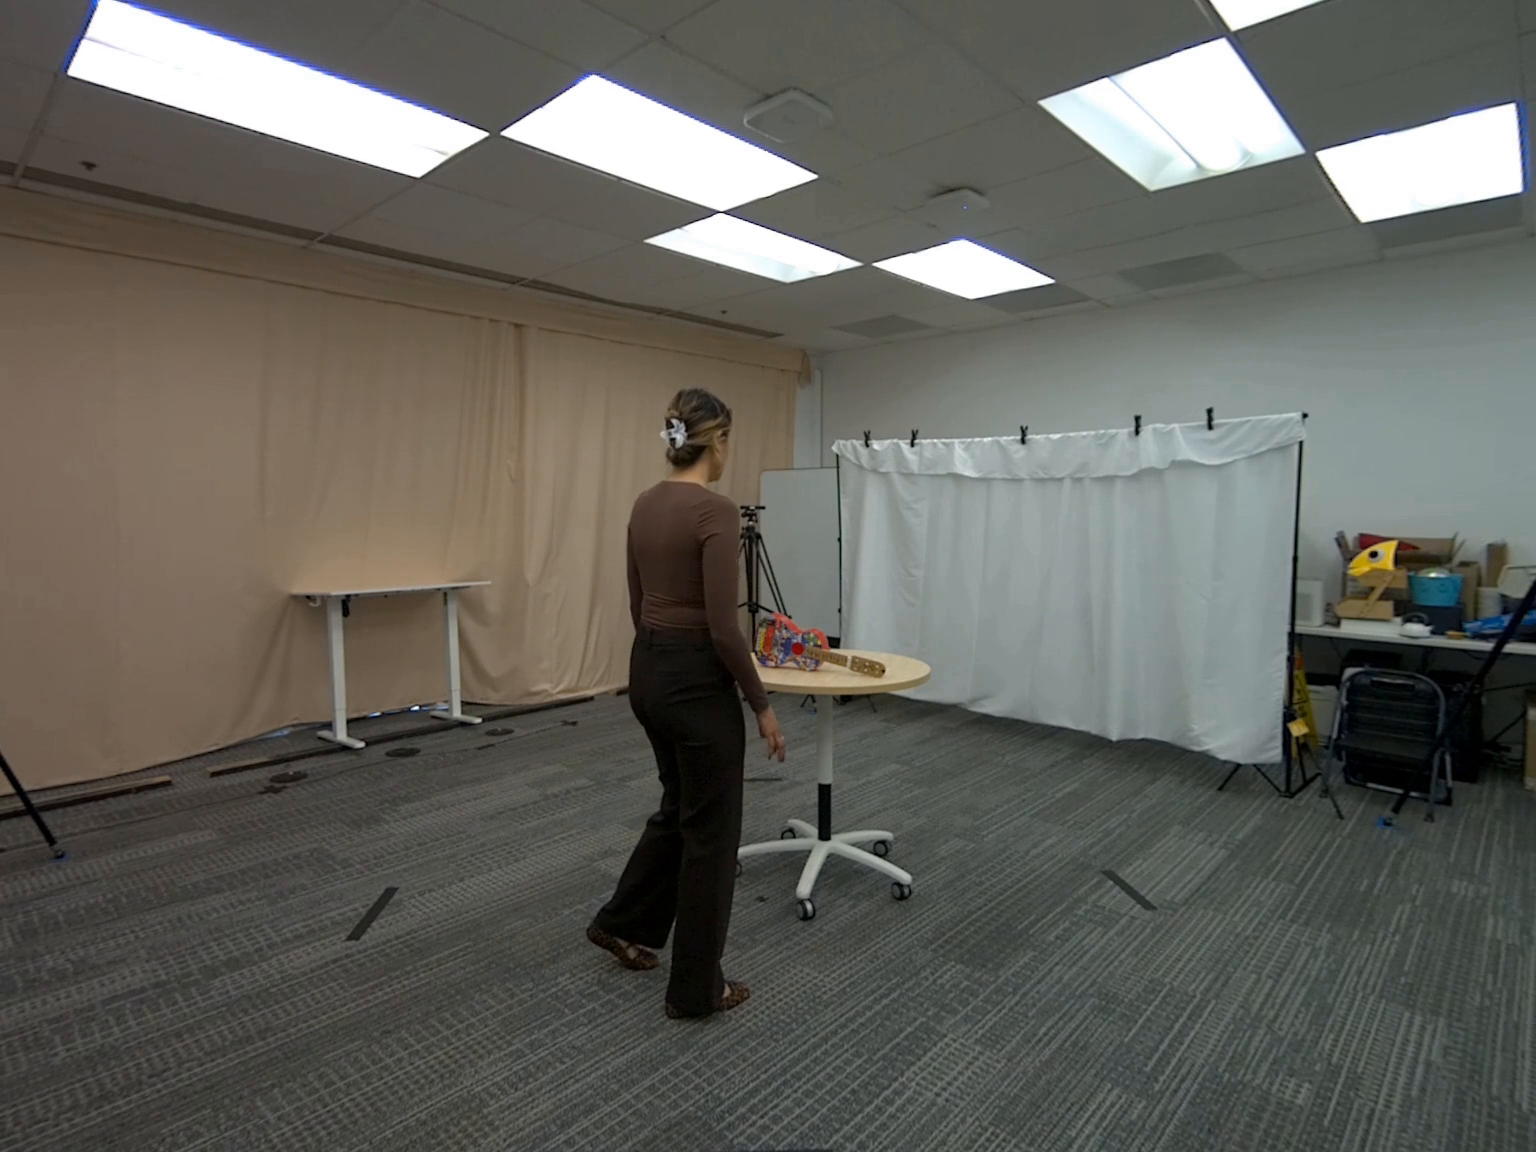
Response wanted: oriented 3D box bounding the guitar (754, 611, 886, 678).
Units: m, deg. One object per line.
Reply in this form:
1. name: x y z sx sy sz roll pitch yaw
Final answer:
1. guitar: 0.183 0.302 3.027 0.512 0.192 0.069 22 10 24
